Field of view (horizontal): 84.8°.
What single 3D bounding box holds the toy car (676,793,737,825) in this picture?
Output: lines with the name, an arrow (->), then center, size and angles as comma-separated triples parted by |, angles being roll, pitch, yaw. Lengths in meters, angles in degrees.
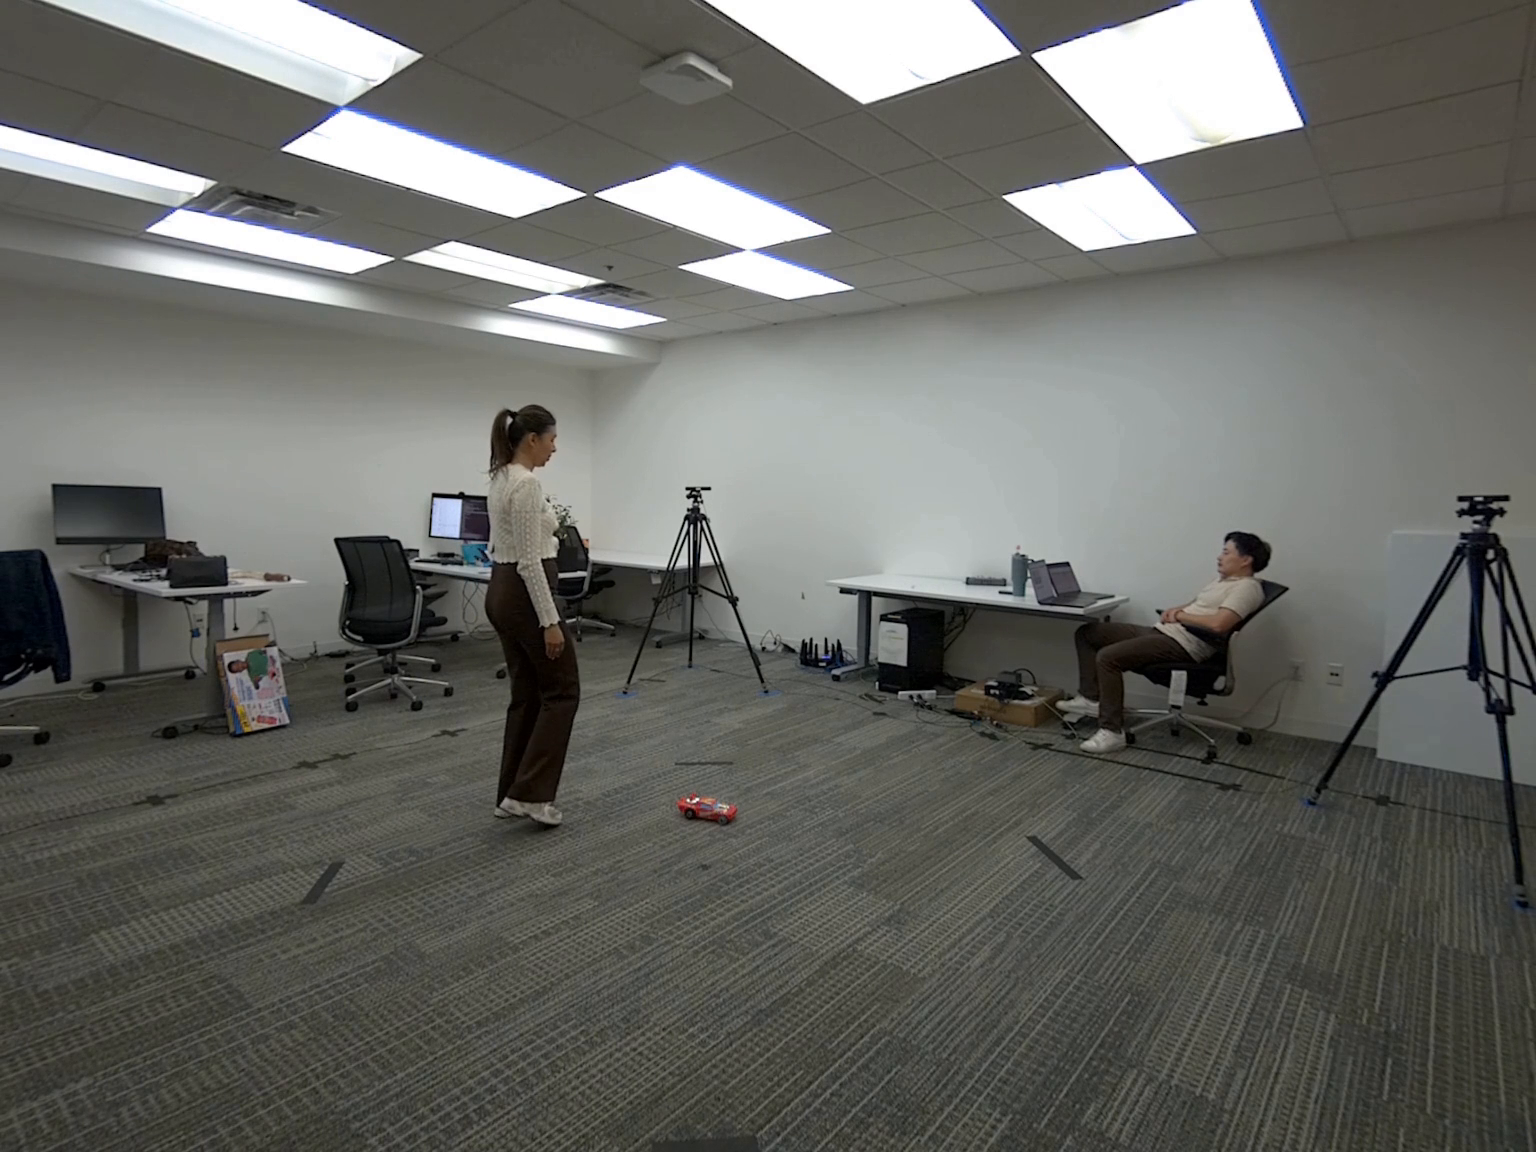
toy car -> -0.274, 0.985, 3.598 | 0.260, 0.083, 0.128 | 14, 9, 19
